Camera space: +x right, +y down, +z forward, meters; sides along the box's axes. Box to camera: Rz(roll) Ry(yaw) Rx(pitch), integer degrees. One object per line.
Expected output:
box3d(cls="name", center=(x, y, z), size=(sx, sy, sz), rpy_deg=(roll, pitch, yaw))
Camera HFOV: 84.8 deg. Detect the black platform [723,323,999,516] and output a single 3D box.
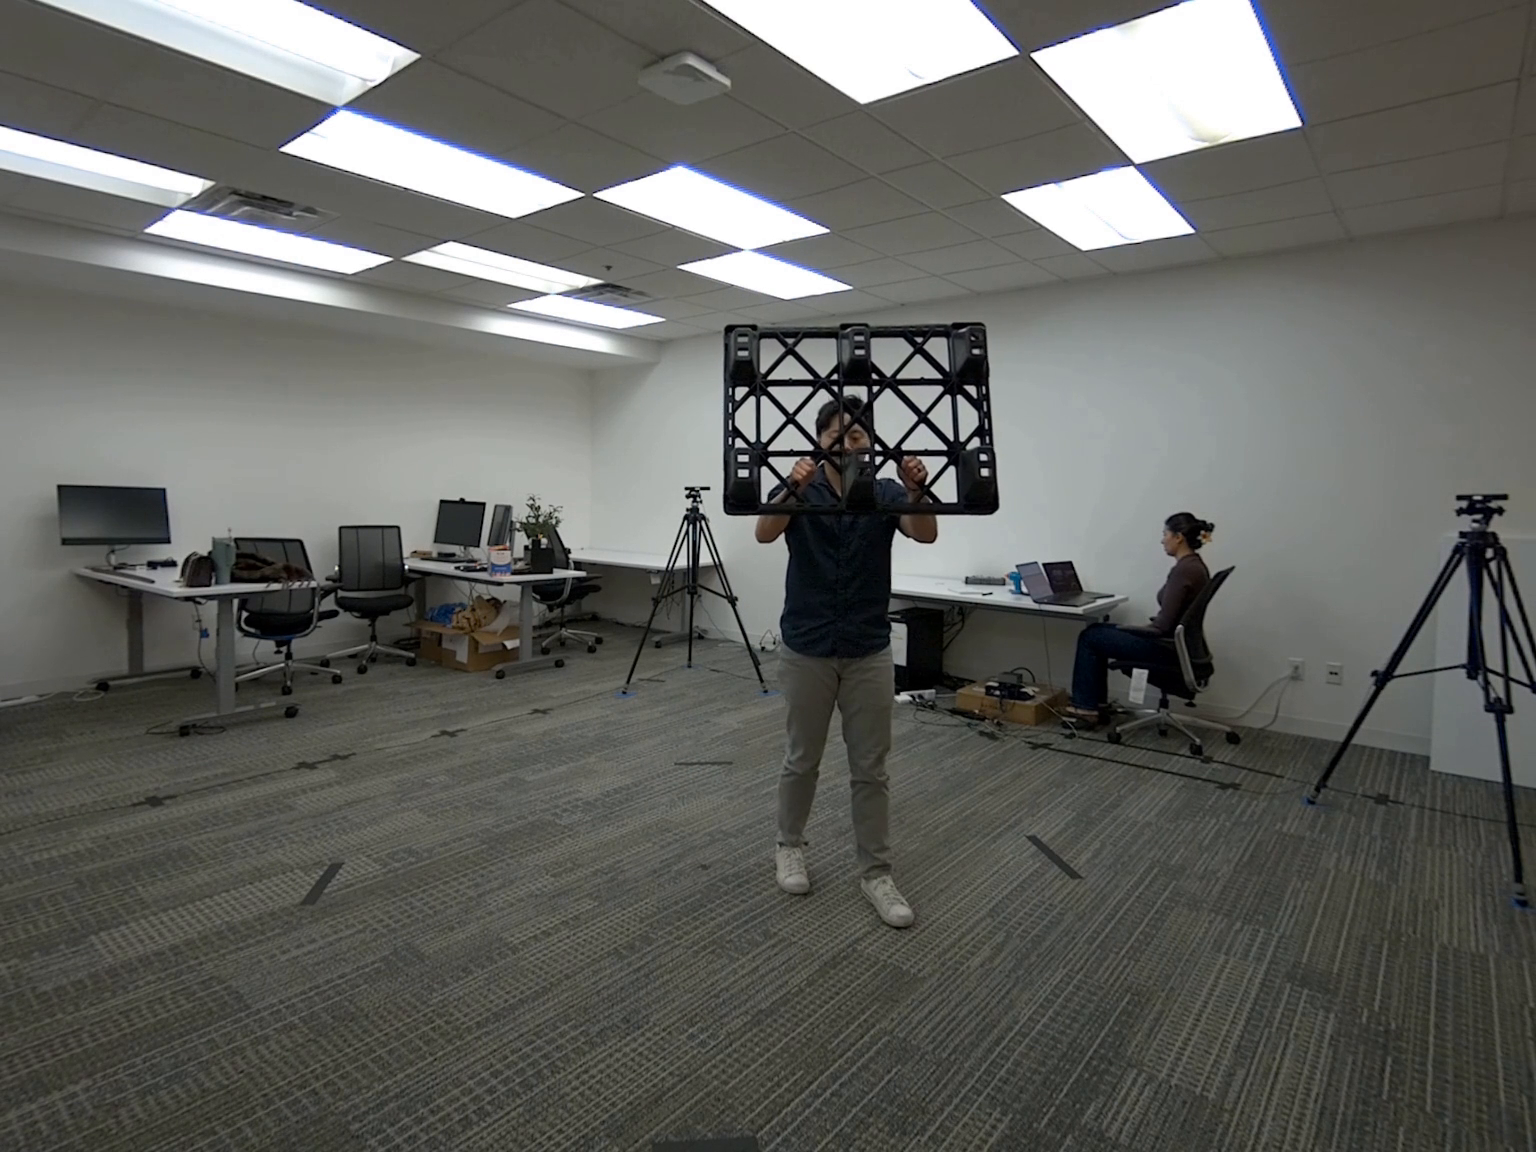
box3d(cls="black platform", center=(0.263, -0.488, 2.504), size=(0.807, 0.612, 0.141), rpy_deg=(0, -11, 1))
